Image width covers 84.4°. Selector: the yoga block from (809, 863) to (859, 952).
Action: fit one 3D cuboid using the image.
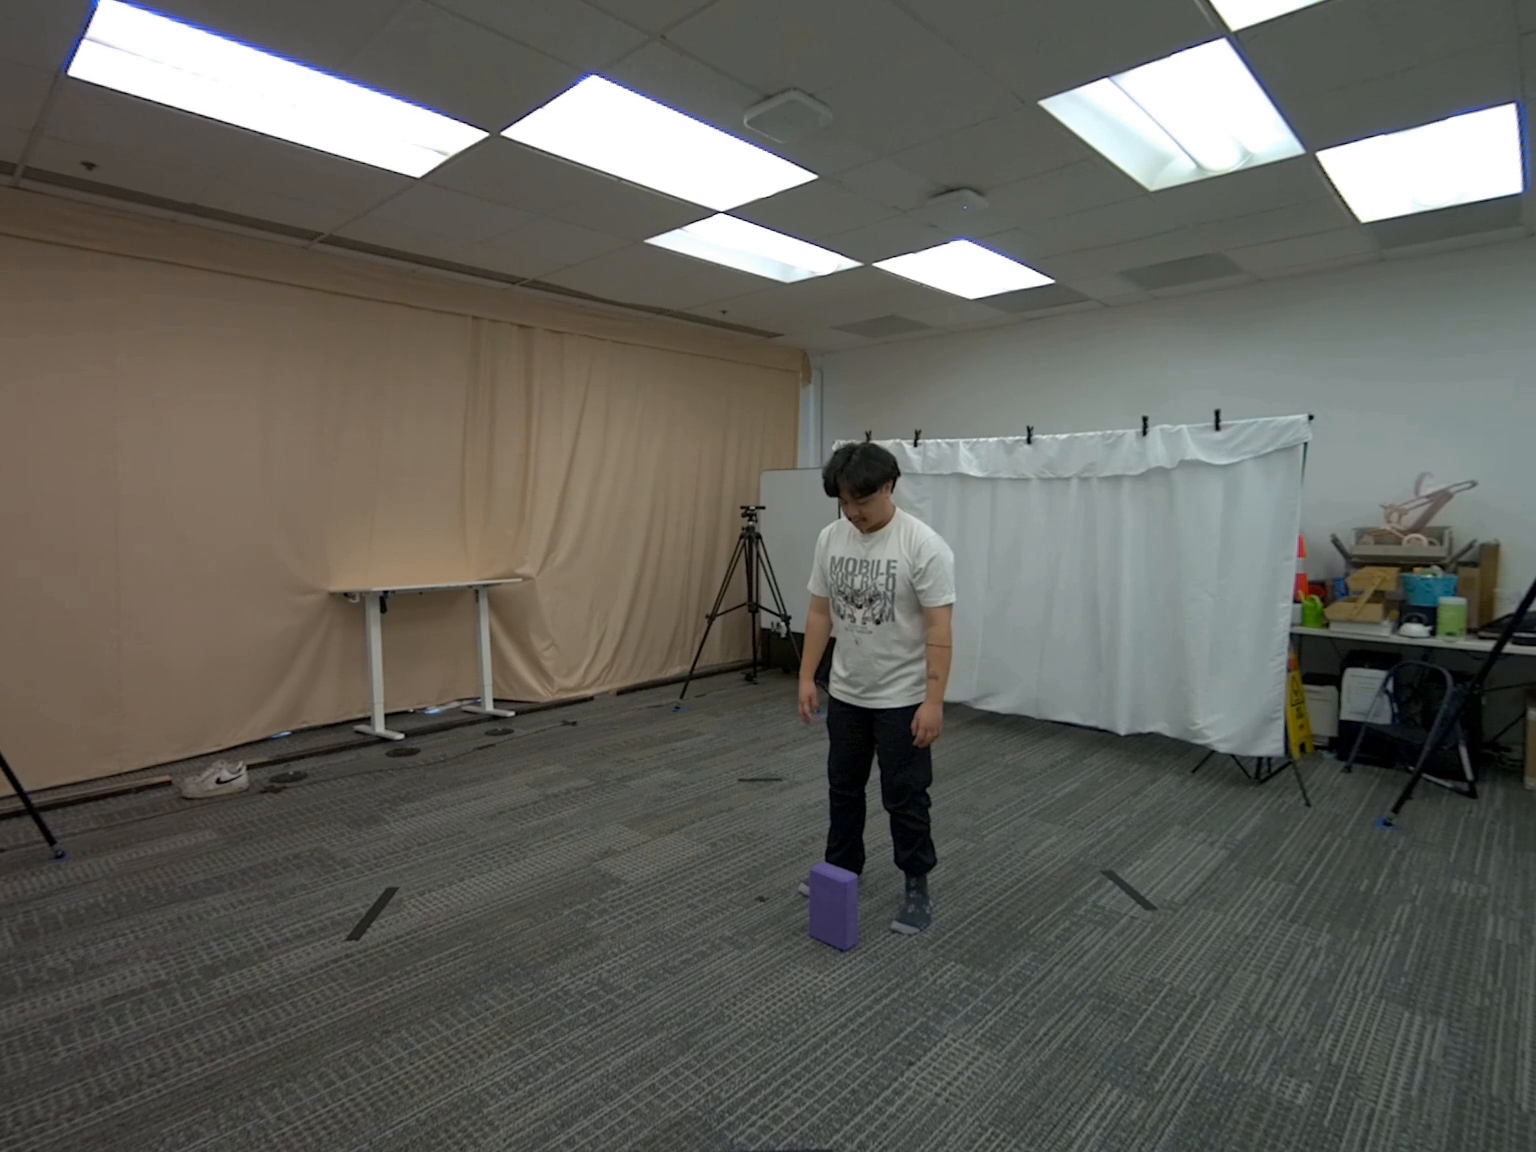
[{"bbox_3d":[0.212,1.055,2.689,0.154,0.229,0.074,5,6,44],"label":"yoga block"}]
